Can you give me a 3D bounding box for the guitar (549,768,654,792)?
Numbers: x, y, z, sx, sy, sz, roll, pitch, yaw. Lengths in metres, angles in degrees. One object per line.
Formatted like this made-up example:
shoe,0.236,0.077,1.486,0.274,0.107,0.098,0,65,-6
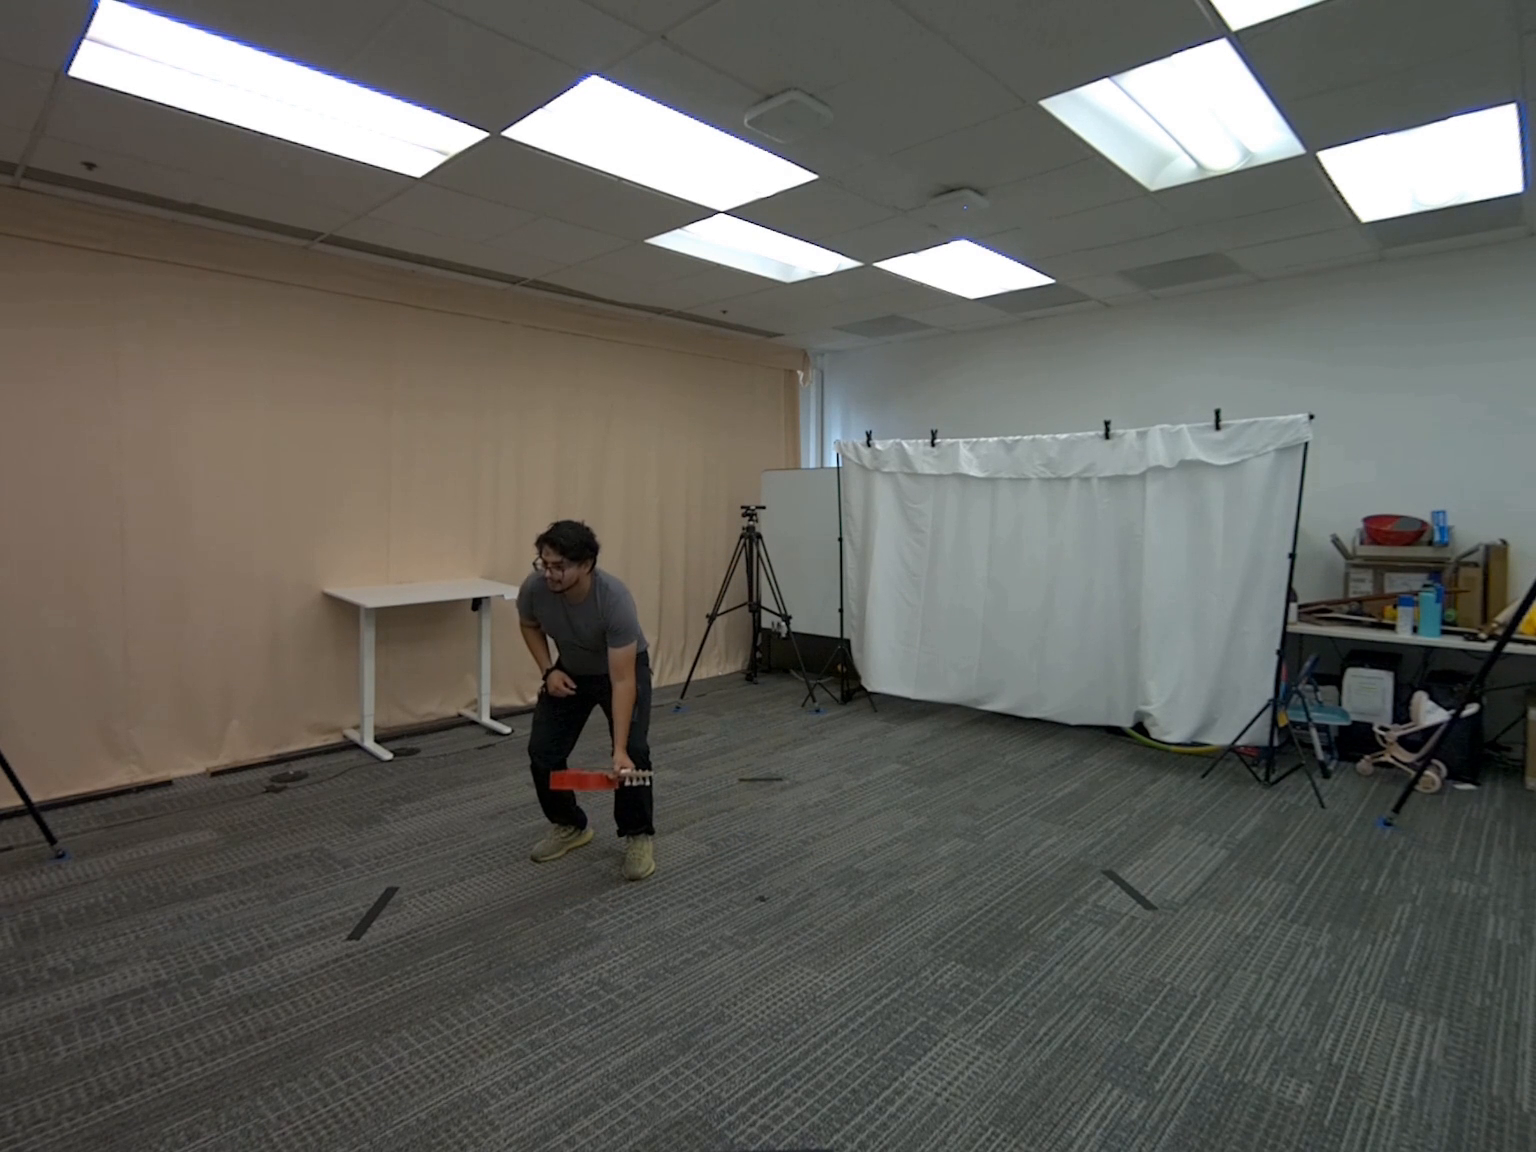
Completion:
guitar,-0.599,0.719,2.965,0.187,0.071,0.510,5,-12,-35
